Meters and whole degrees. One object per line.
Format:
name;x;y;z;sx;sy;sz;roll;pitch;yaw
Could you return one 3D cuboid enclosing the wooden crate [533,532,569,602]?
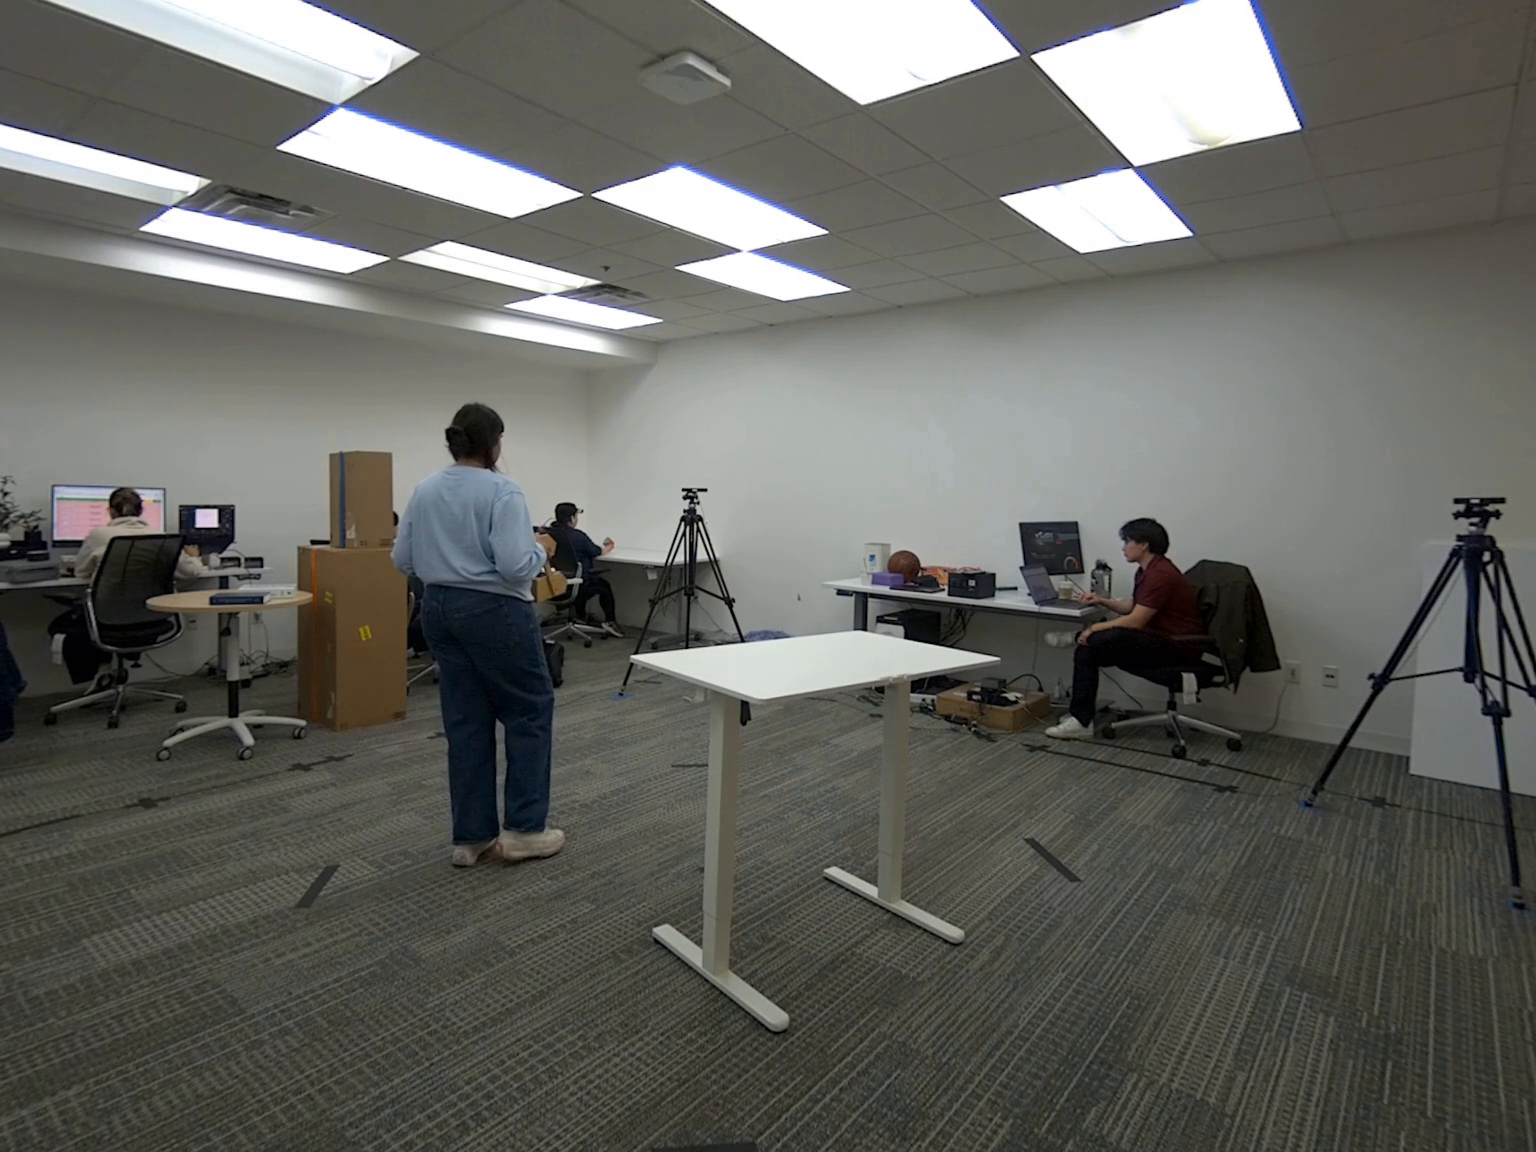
wooden crate;-1.042;-0.053;3.446;0.330;0.271;0.299;2;10;16
